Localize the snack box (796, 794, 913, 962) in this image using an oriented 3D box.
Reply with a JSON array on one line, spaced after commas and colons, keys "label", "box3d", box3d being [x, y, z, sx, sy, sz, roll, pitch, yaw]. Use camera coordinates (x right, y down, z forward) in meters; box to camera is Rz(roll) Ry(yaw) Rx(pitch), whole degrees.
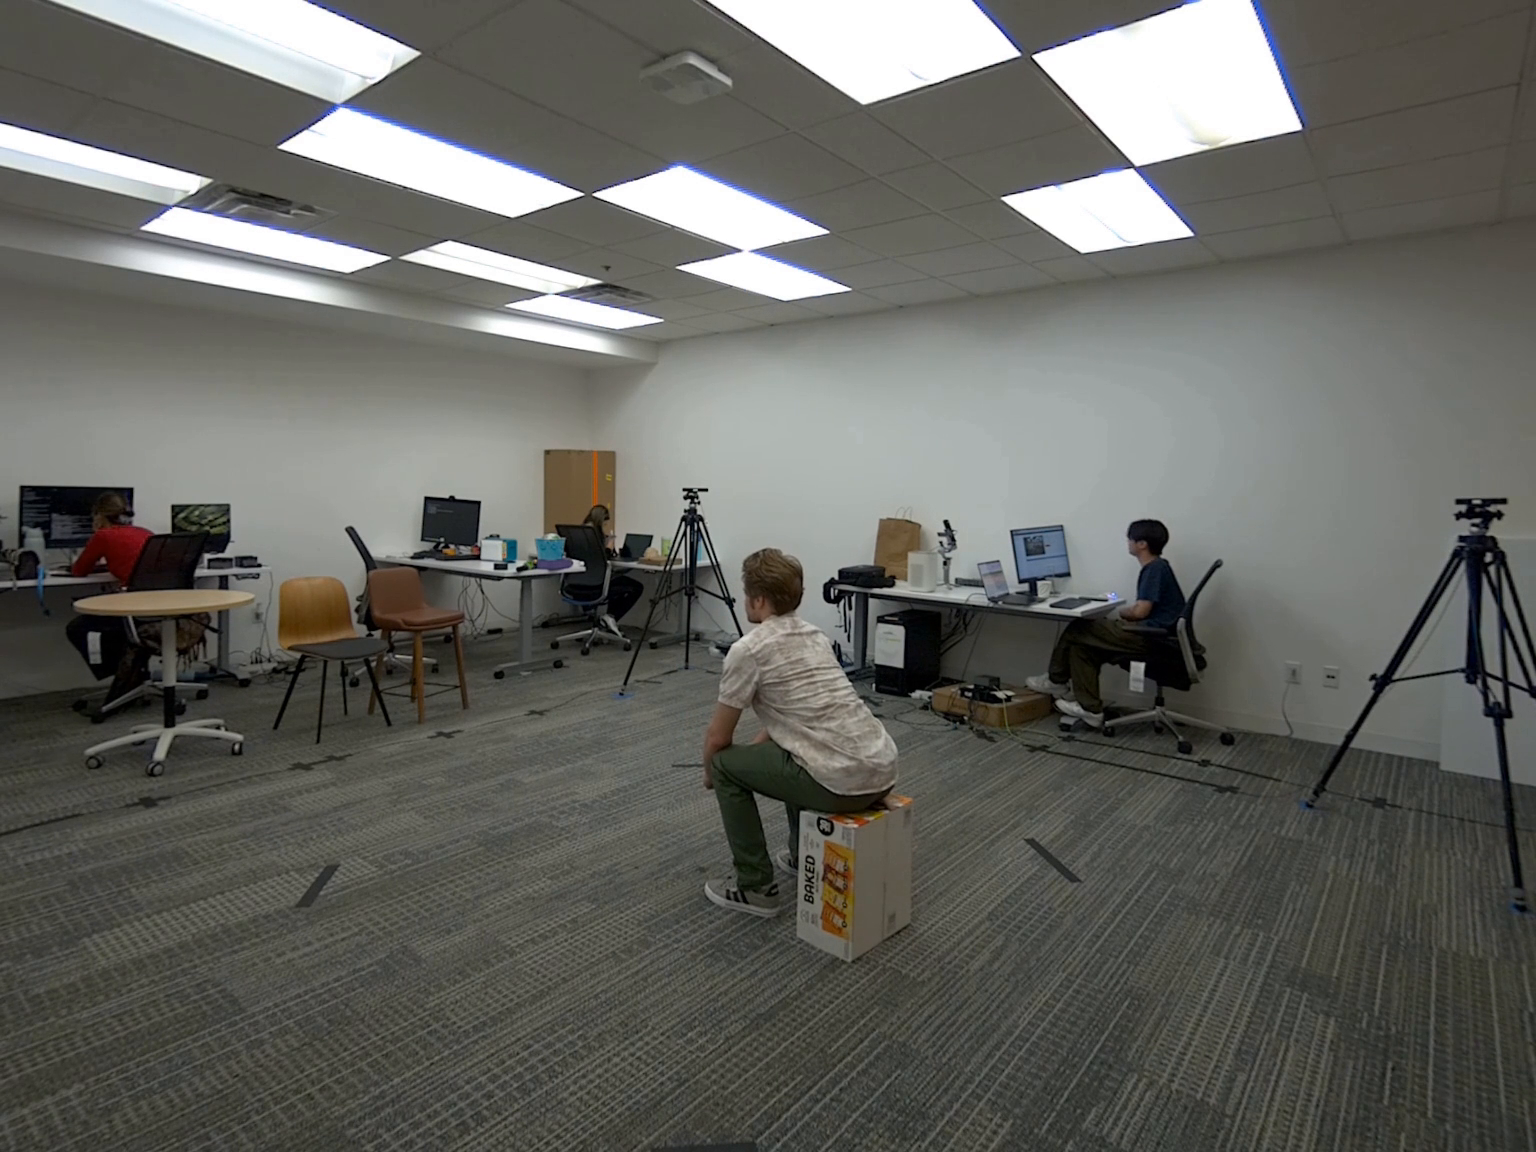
[{"label": "snack box", "box3d": [0.278, 0.921, 2.689, 0.212, 0.404, 0.330, 3, 3, 42]}]
